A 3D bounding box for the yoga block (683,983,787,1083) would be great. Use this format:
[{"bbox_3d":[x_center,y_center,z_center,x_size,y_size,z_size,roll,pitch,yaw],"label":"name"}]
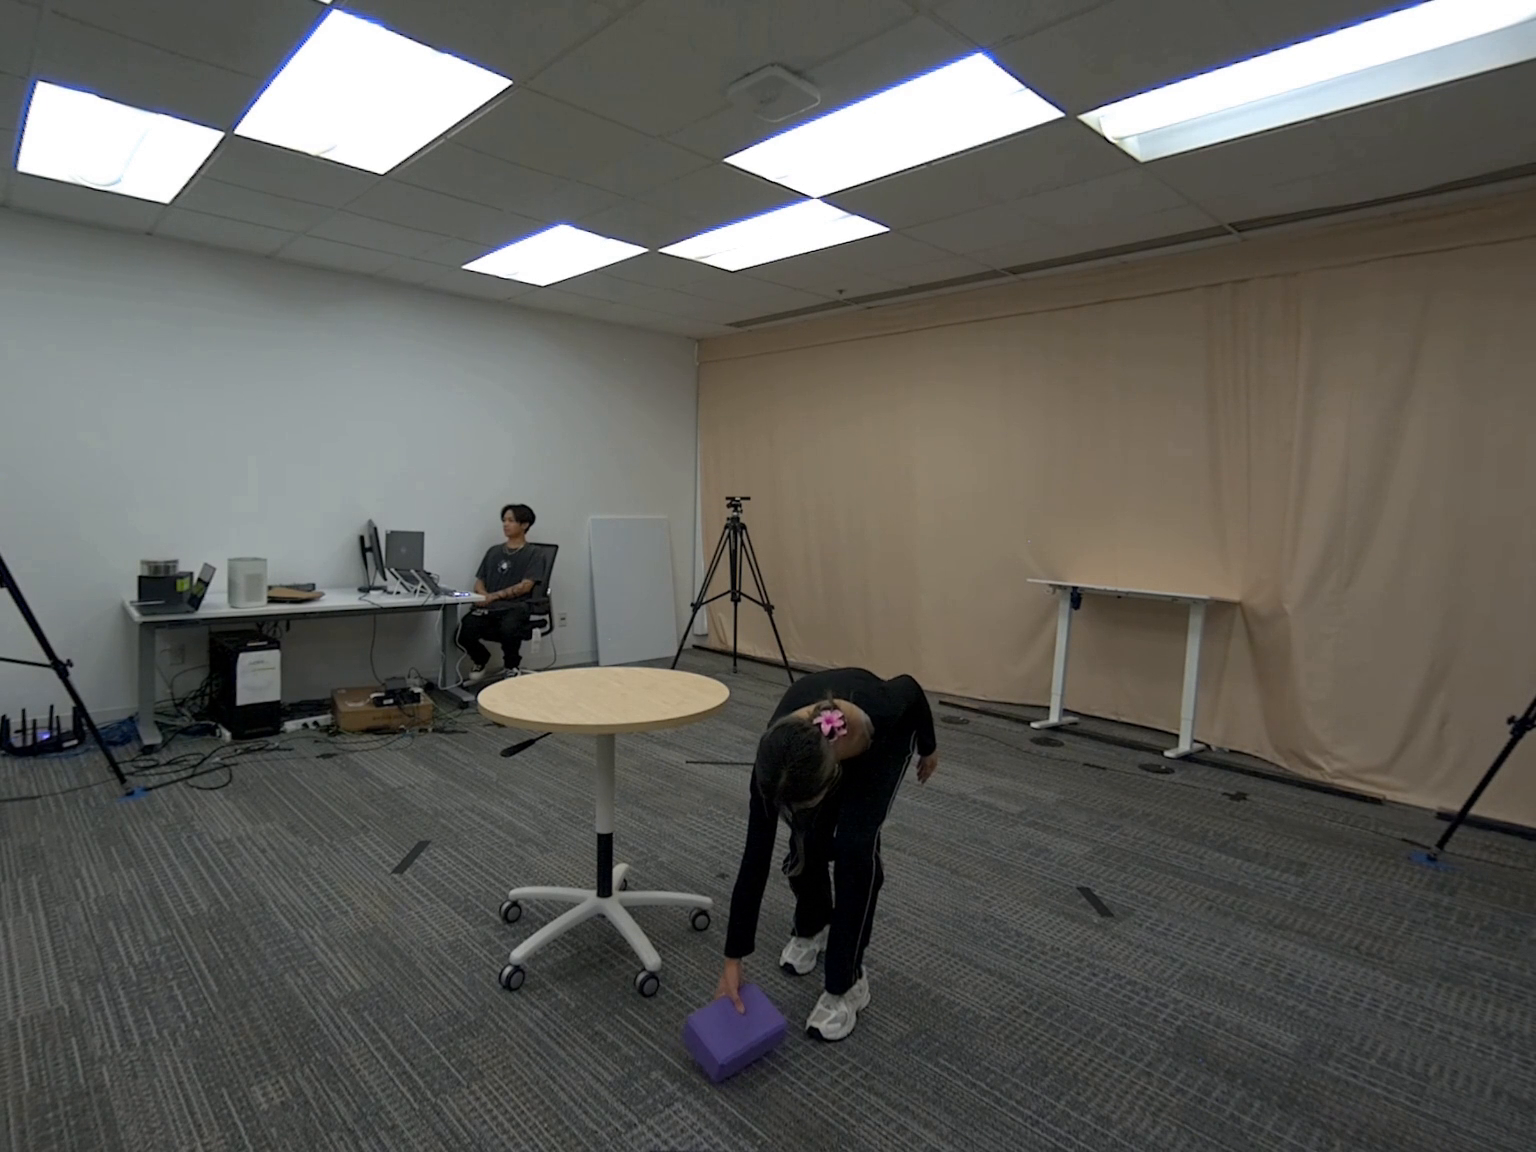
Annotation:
[{"bbox_3d":[-0.078,1.133,2.070,0.153,0.076,0.225,23,21,34],"label":"yoga block"}]
